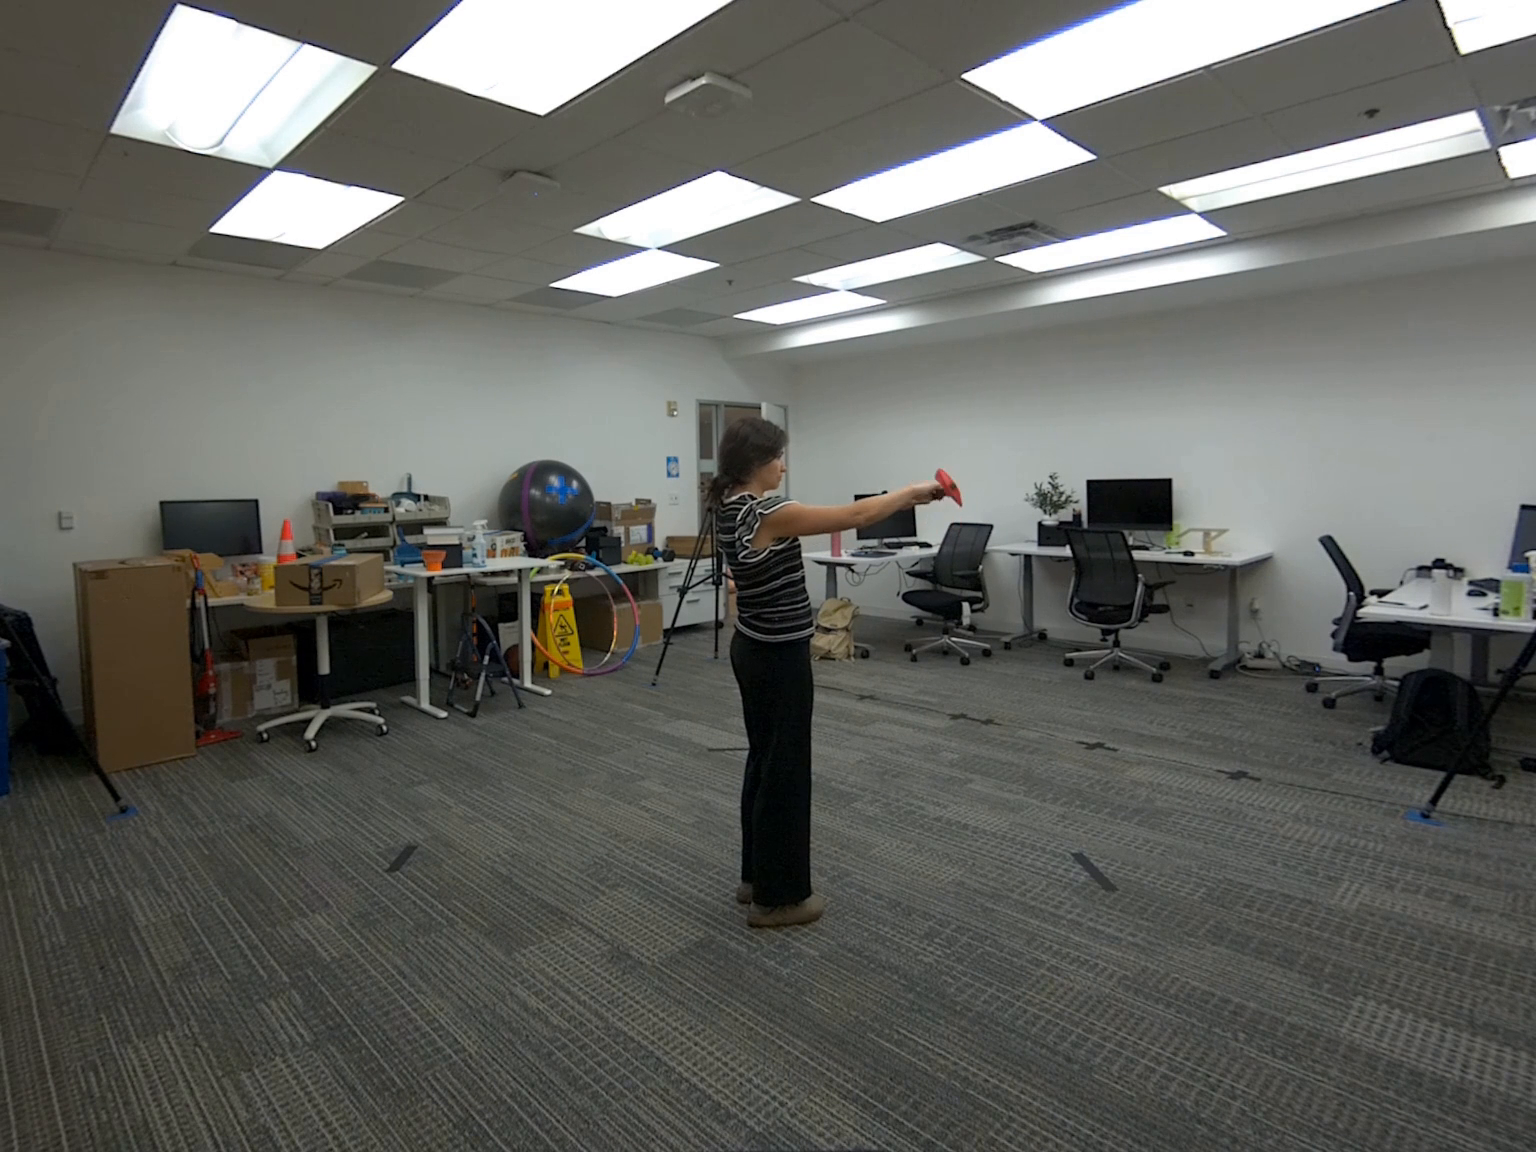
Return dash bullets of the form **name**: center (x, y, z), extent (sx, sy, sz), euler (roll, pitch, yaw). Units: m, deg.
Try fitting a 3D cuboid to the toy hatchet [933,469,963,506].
- **toy hatchet**: center (0.539, -0.294, 2.736), extent (0.029, 0.128, 0.276), euler (-31, 18, -9)
